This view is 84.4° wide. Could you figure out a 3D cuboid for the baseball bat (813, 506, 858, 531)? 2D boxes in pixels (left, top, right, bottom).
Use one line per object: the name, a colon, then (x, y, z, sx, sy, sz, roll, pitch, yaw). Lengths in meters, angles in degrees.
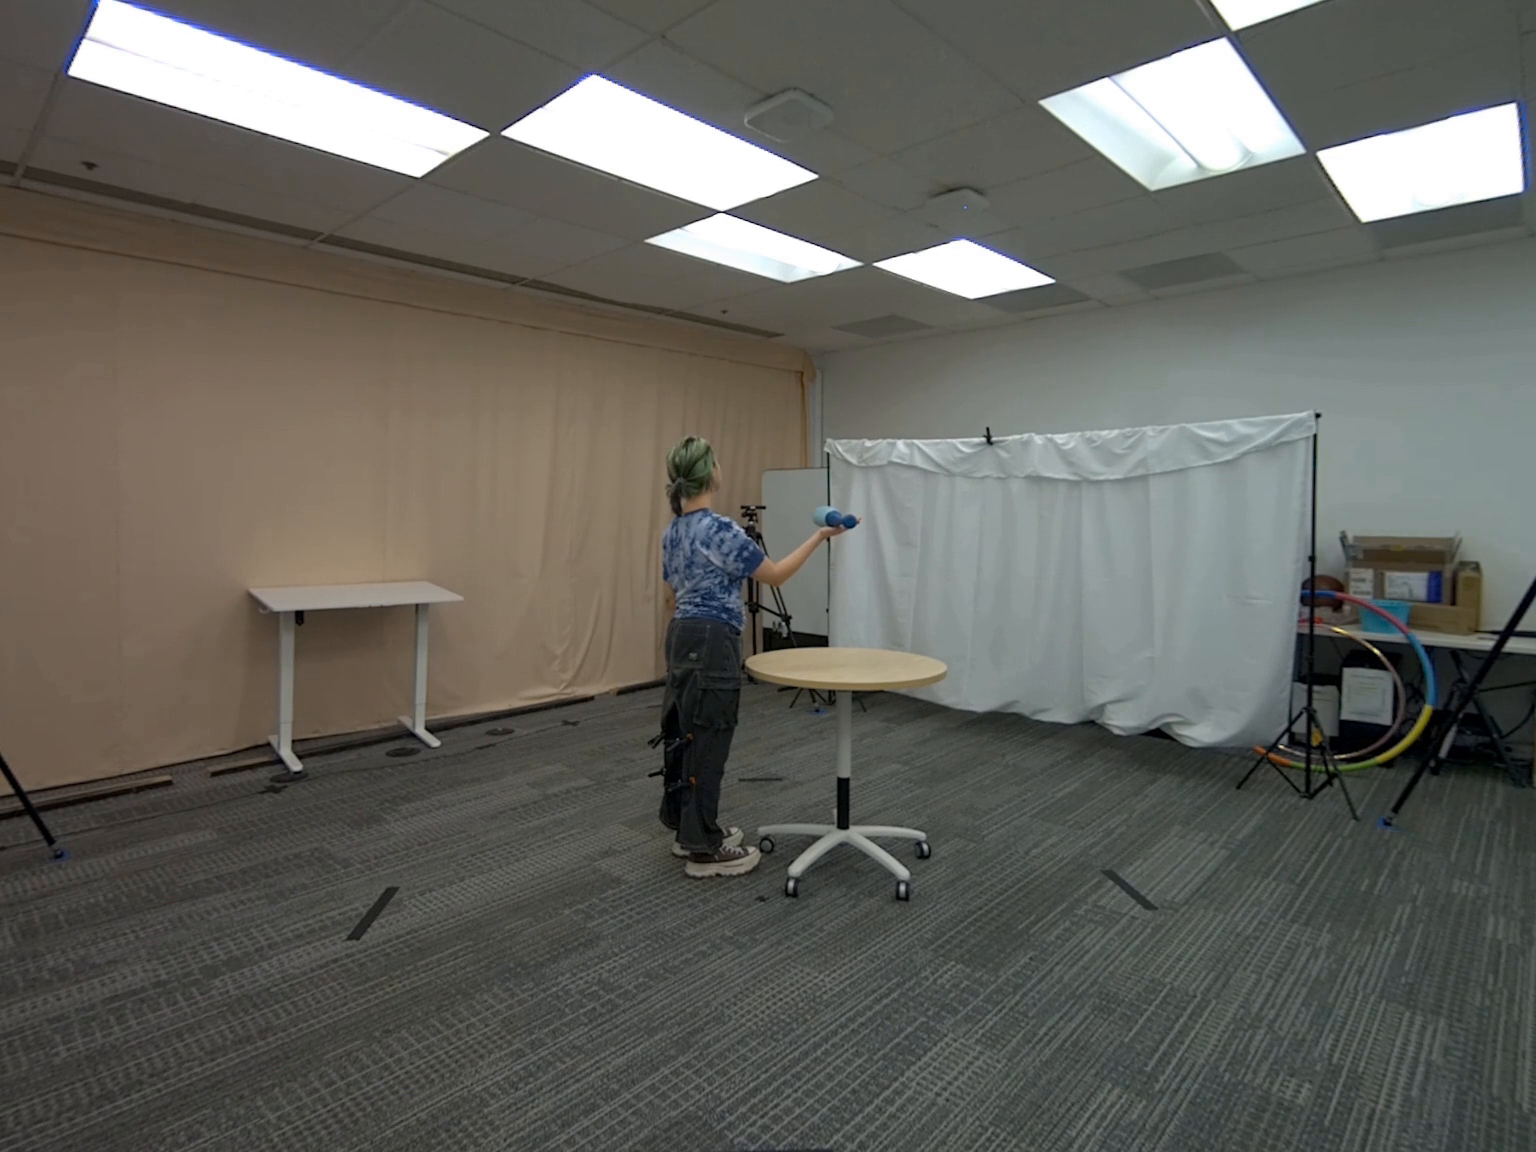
baseball bat: (0.269, -0.214, 3.177, 0.088, 0.089, 0.550, -1, 6, -10)
